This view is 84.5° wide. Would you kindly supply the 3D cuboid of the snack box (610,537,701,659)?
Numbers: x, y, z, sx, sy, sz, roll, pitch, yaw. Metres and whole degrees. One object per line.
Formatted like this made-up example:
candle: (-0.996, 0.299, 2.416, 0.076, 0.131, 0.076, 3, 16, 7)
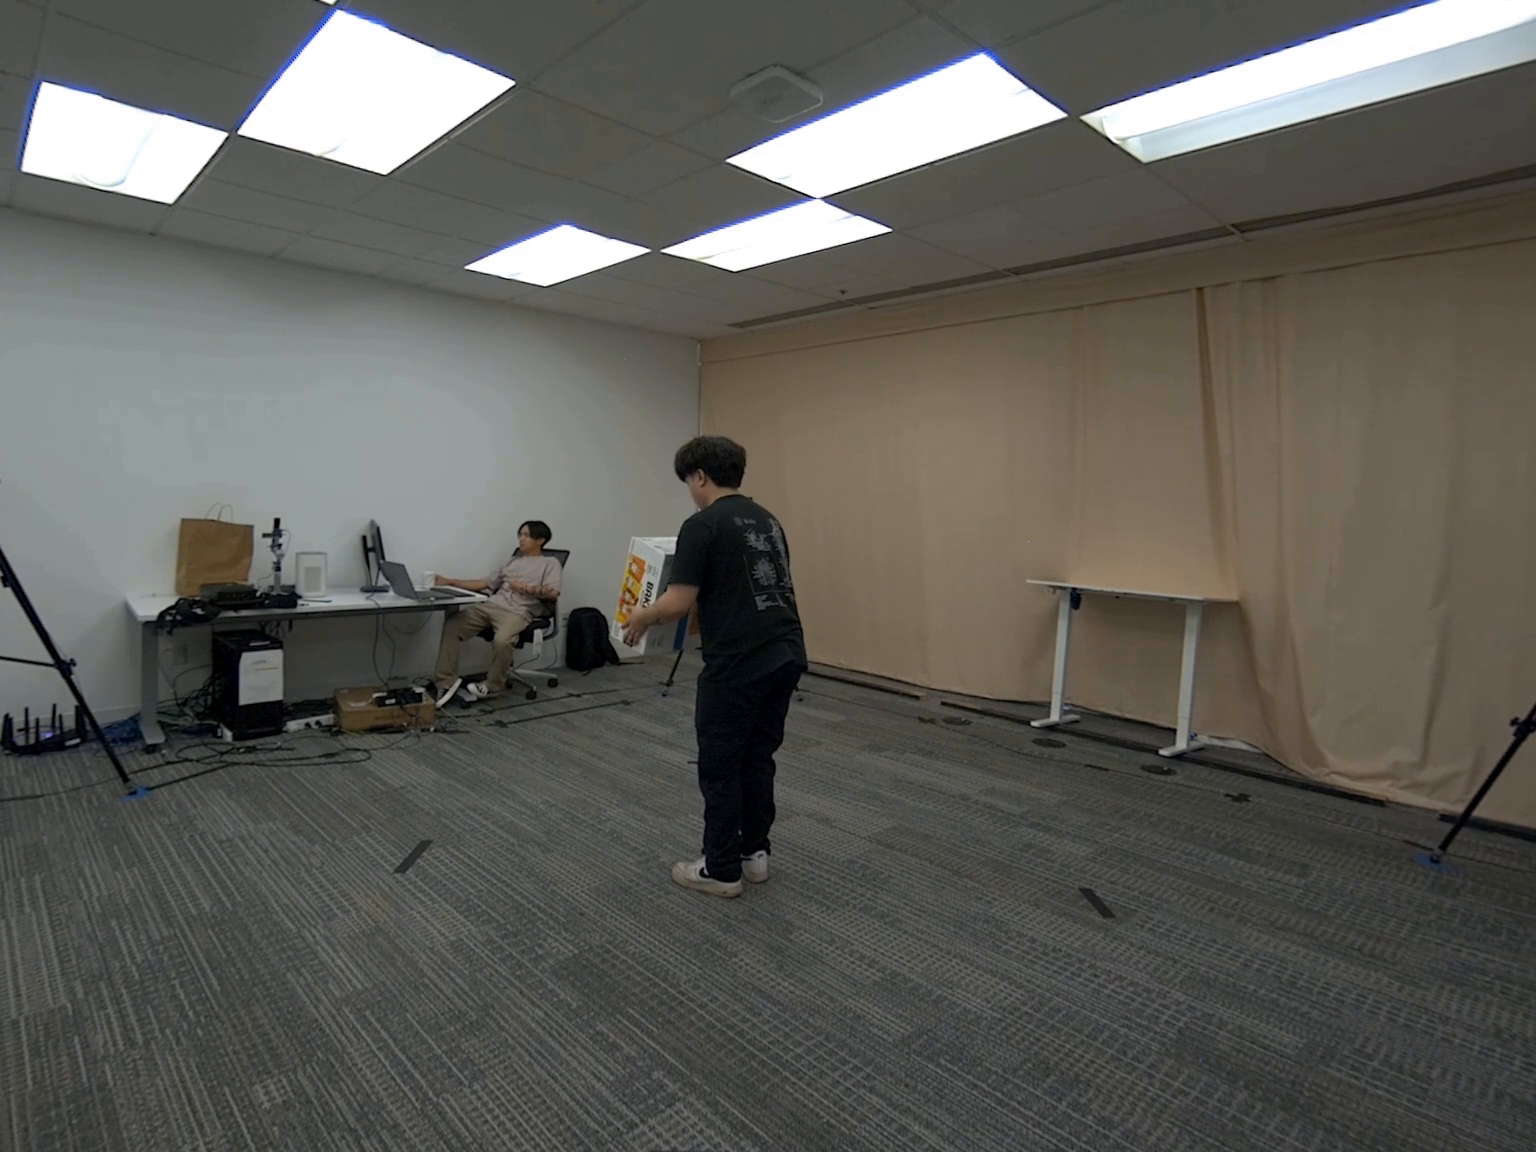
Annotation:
snack box: (-0.383, 0.074, 3.292, 0.212, 0.402, 0.332, 23, 16, 38)
